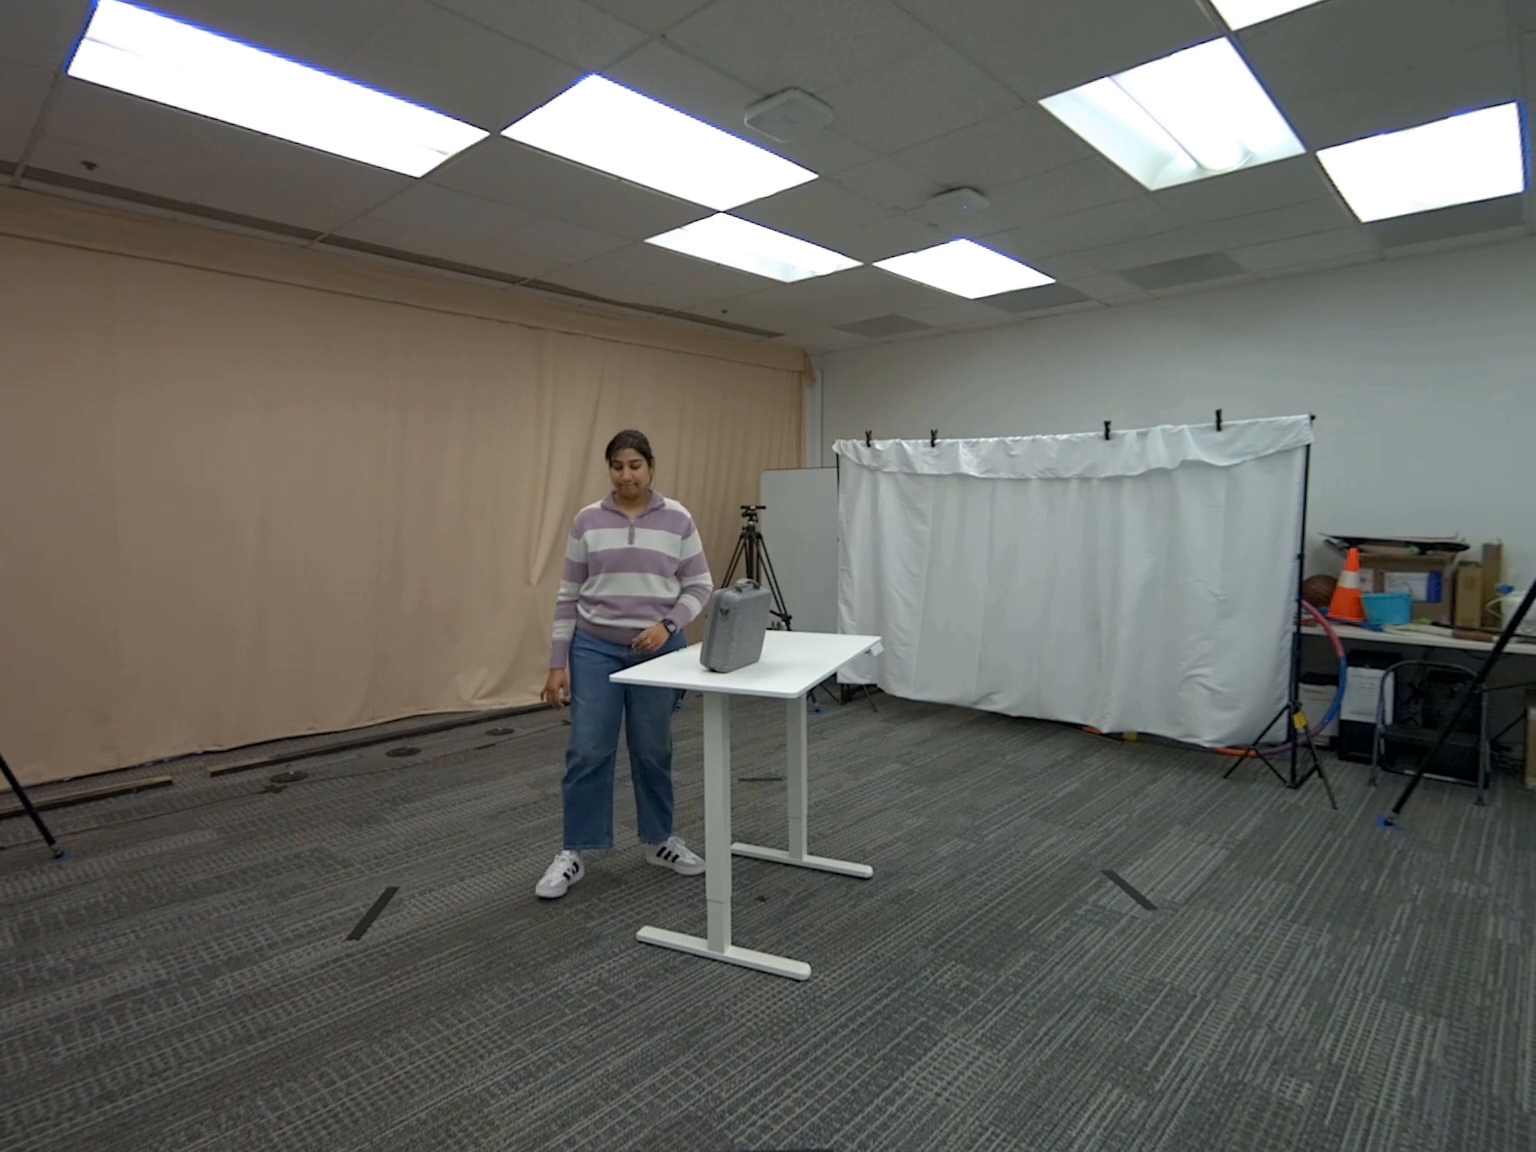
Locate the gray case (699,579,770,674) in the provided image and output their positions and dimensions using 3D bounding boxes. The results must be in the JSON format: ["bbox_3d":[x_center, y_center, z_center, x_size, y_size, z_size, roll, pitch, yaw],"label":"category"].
[{"bbox_3d":[-0.095,0.158,2.669,0.107,0.259,0.251,14,12,26],"label":"gray case"}]
